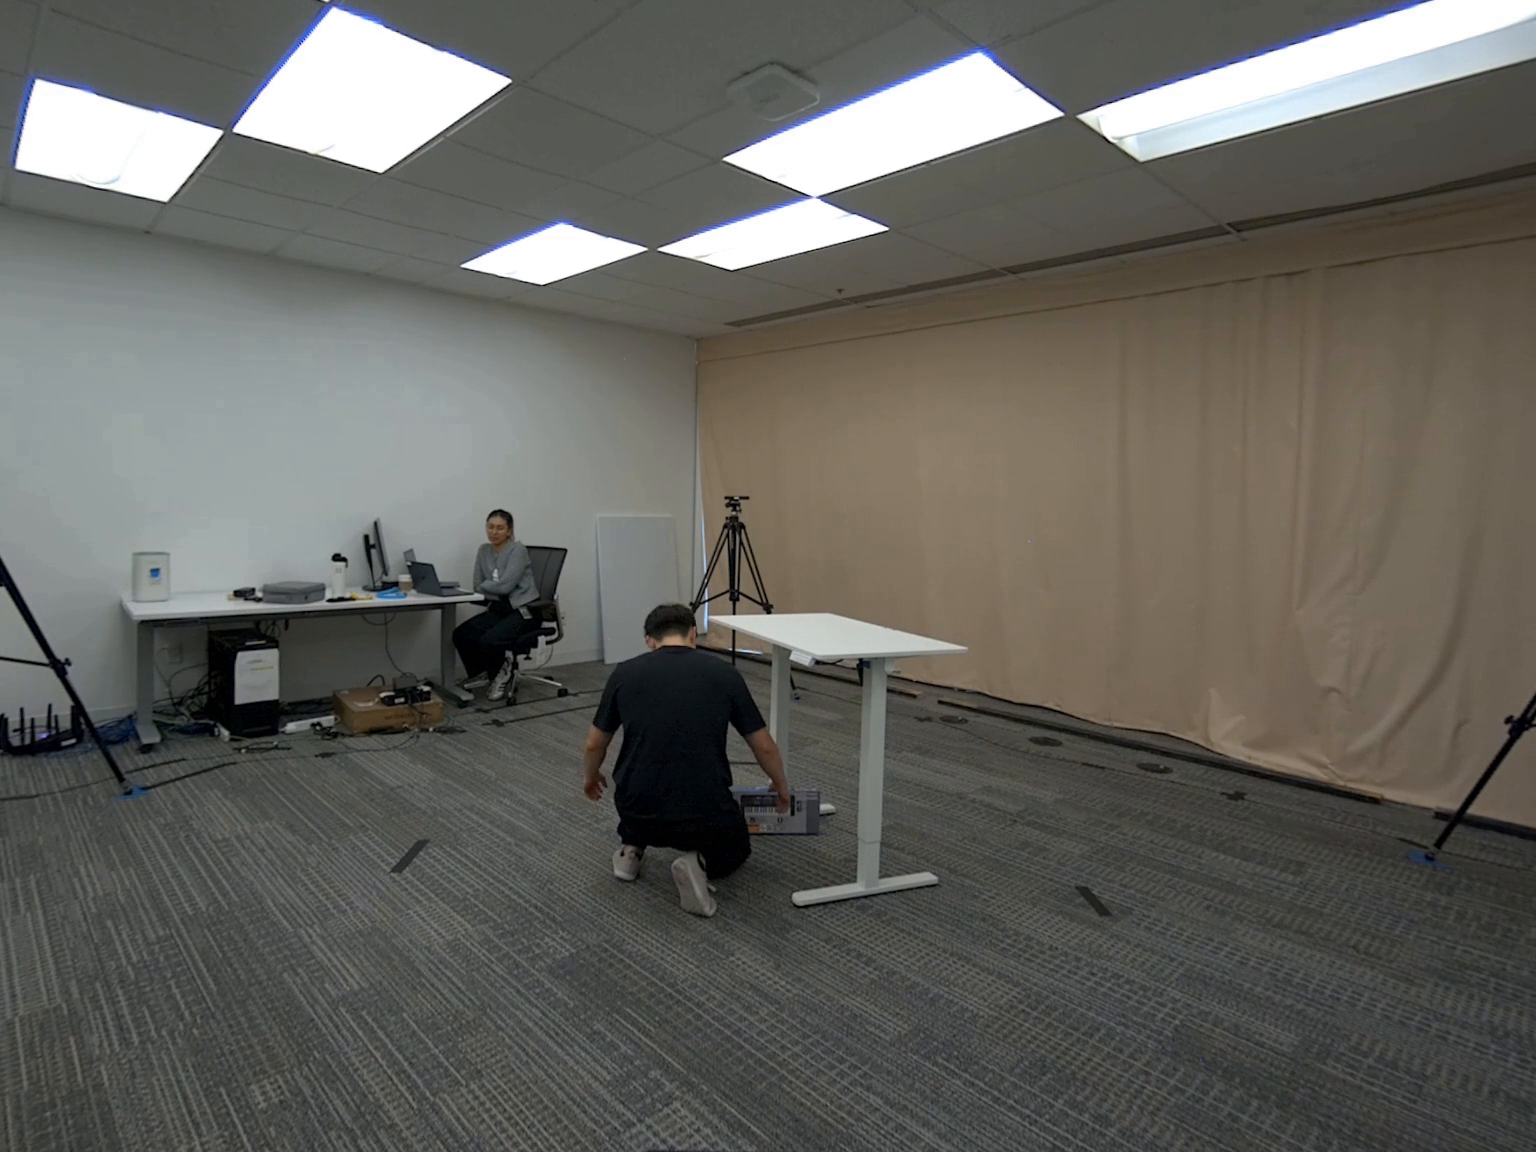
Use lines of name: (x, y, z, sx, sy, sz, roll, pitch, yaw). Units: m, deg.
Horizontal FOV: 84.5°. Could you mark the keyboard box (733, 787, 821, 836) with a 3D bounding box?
keyboard box: (-0.012, 0.983, 3.519, 0.436, 0.176, 0.059, 1, -4, -3)
